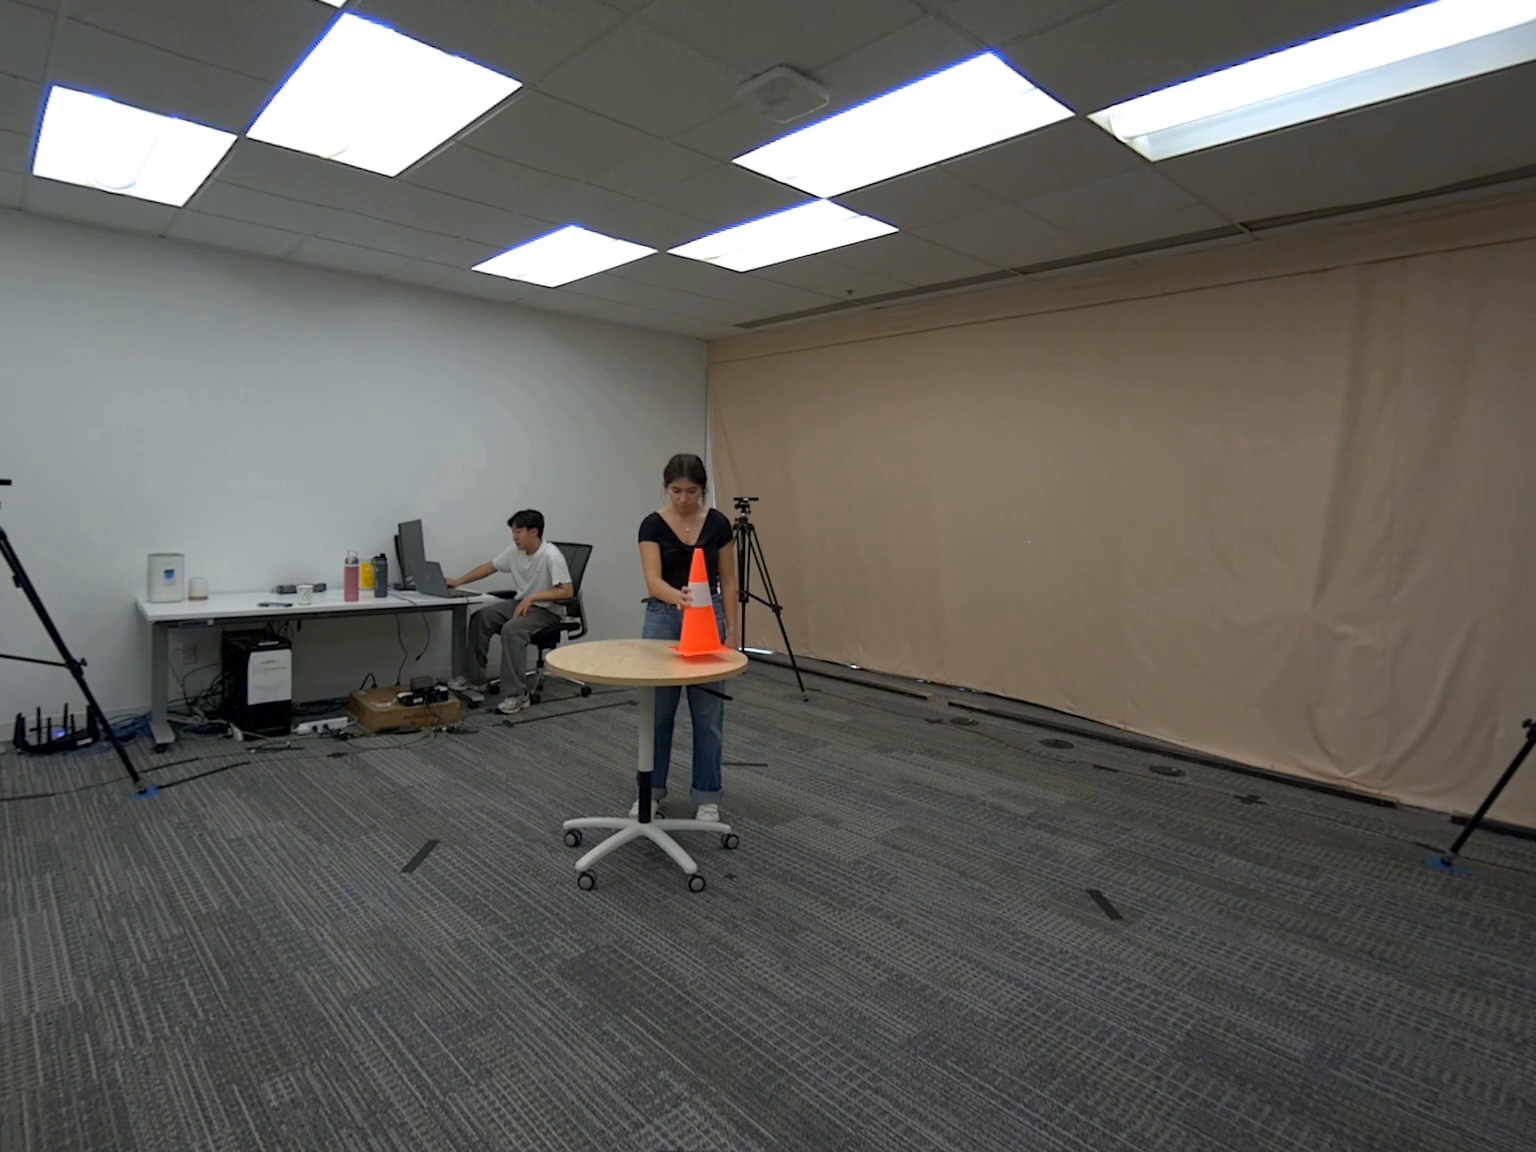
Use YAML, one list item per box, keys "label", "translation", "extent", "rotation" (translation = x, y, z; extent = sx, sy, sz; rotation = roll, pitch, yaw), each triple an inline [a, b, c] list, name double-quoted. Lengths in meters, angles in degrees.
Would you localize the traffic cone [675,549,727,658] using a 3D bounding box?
- label: "traffic cone"
  translation: [-0.280, 0.092, 3.192]
  extent: [0.200, 0.383, 0.209]
  rotation: [-2, 3, -24]
